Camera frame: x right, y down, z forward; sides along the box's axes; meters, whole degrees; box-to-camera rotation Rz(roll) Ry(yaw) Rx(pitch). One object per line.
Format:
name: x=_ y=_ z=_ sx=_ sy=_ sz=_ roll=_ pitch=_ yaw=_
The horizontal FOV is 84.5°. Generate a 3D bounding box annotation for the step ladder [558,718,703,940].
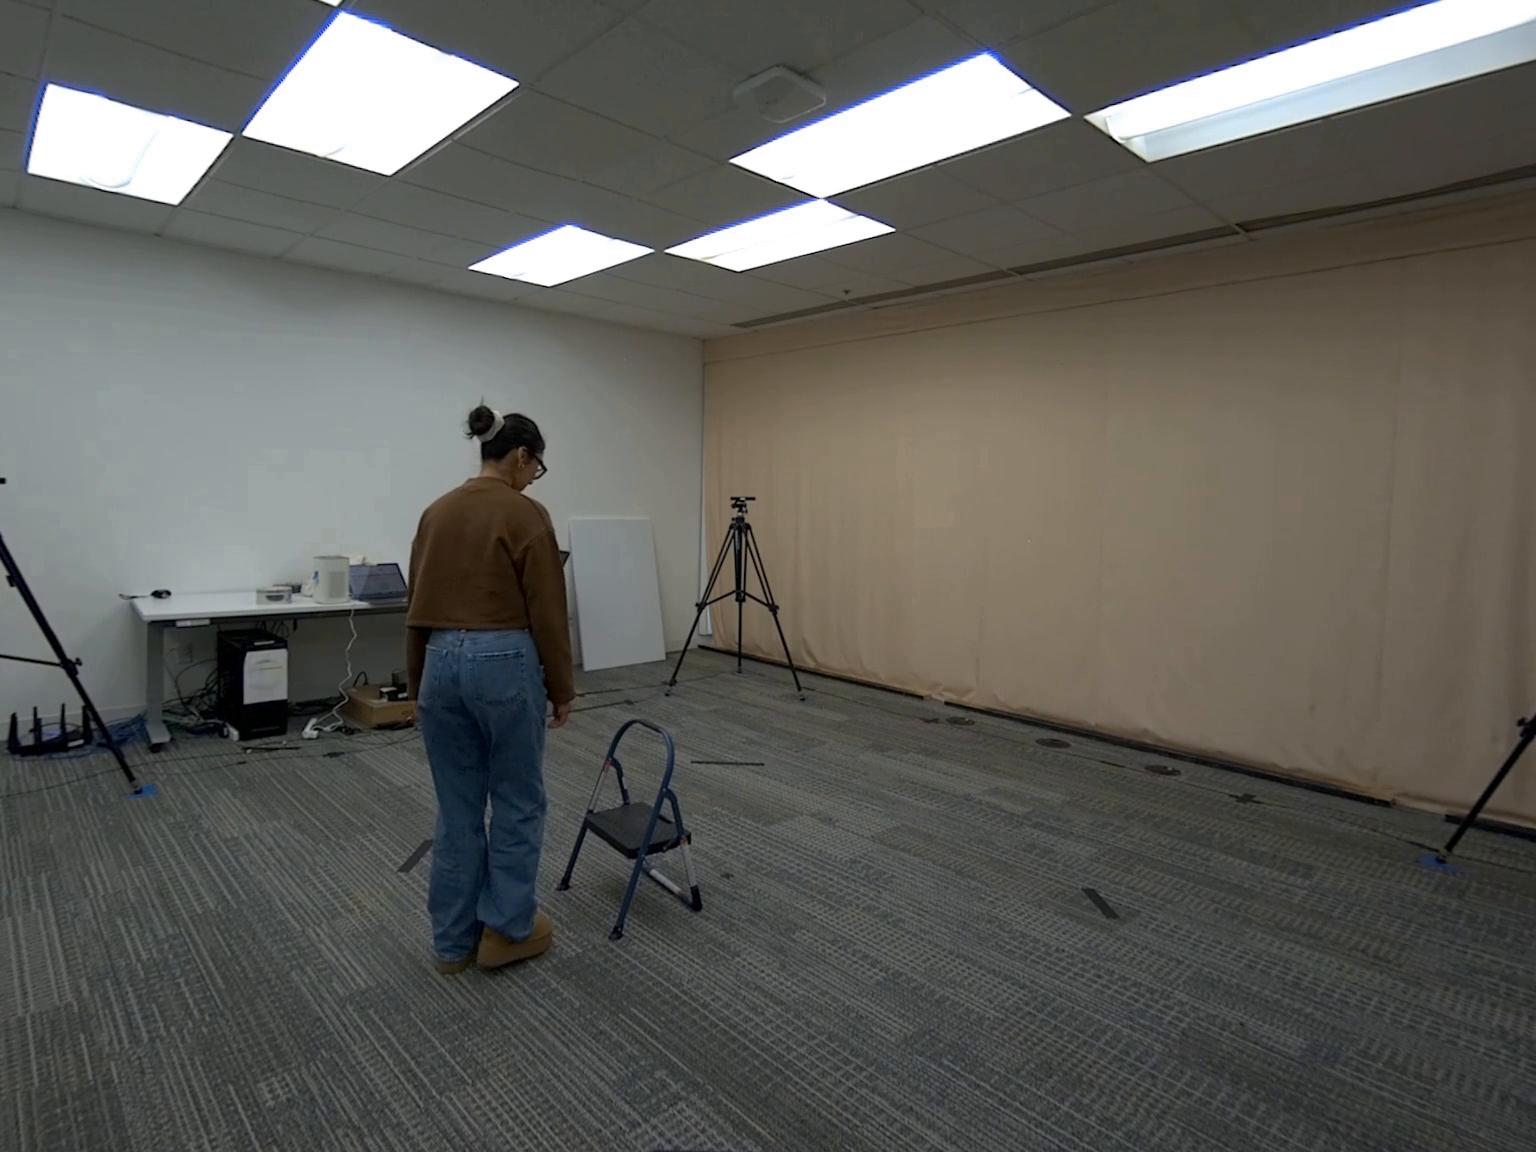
step ladder: x=-0.474 y=0.814 z=2.886 sx=0.341 sy=0.605 sz=0.441 roll=-1 pitch=4 yaw=-37
